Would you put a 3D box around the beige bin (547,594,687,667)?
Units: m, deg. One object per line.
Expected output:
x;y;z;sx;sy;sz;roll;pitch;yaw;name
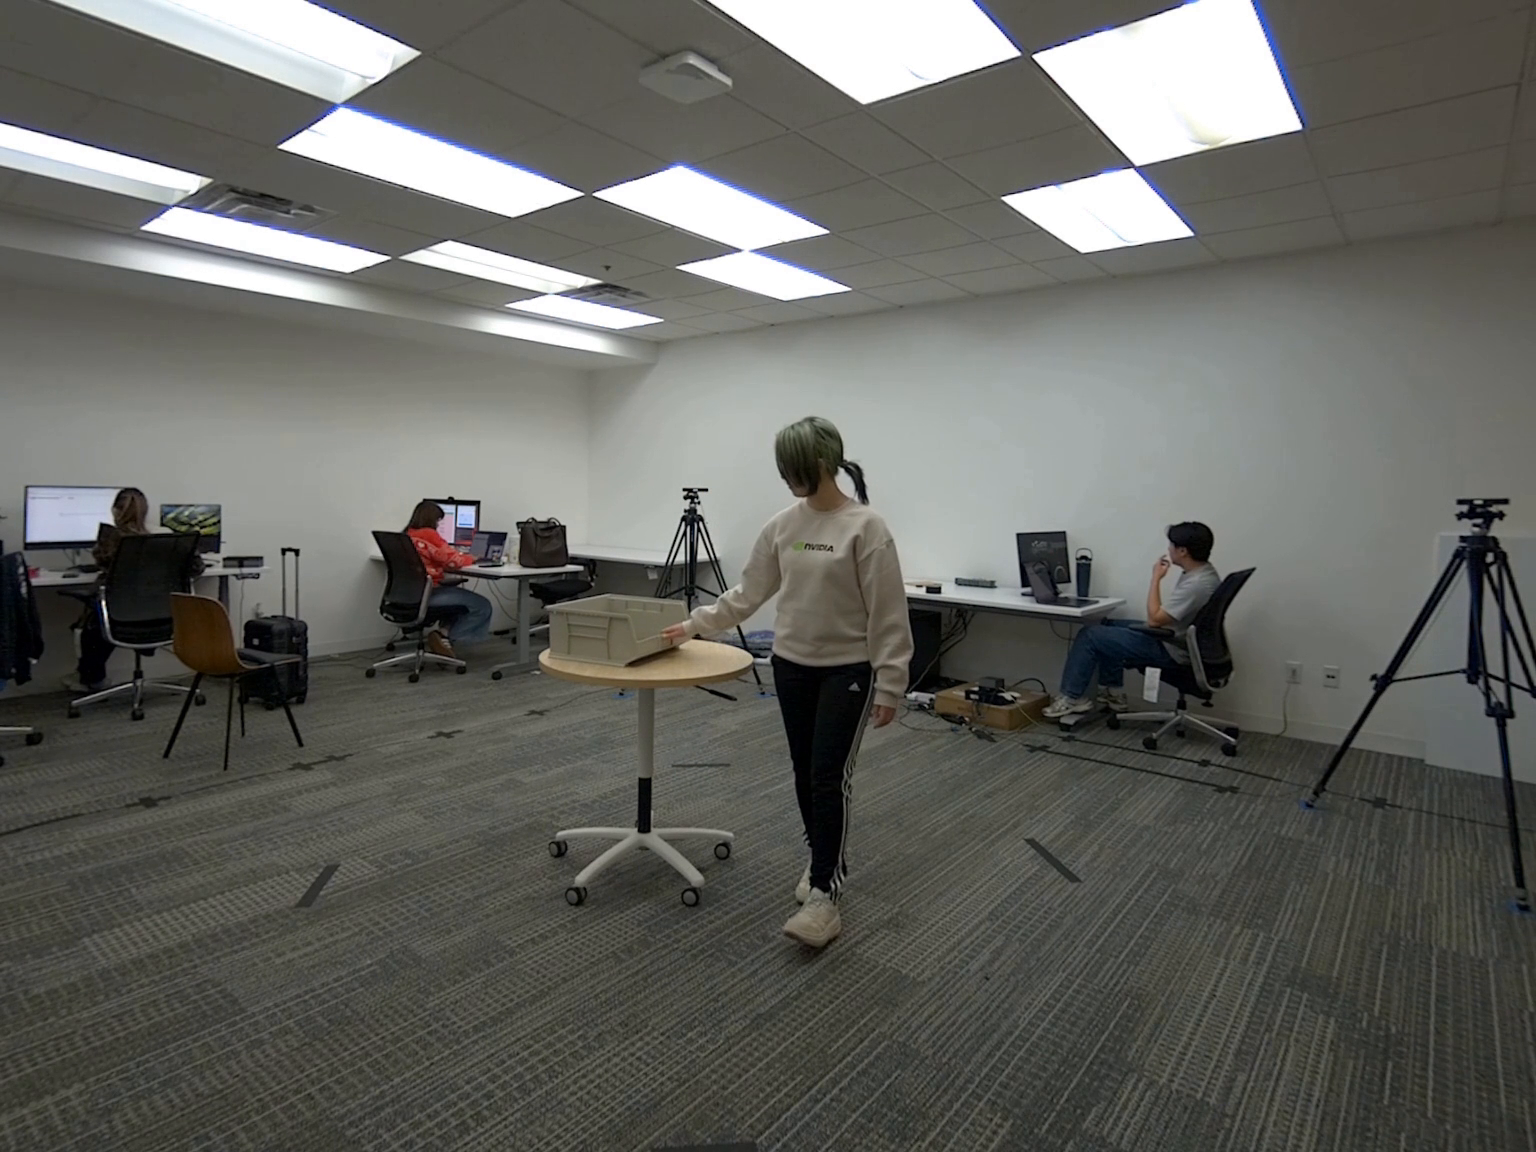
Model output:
-0.548;0.191;3.094;0.386;0.188;0.414;3;6;22;beige bin
